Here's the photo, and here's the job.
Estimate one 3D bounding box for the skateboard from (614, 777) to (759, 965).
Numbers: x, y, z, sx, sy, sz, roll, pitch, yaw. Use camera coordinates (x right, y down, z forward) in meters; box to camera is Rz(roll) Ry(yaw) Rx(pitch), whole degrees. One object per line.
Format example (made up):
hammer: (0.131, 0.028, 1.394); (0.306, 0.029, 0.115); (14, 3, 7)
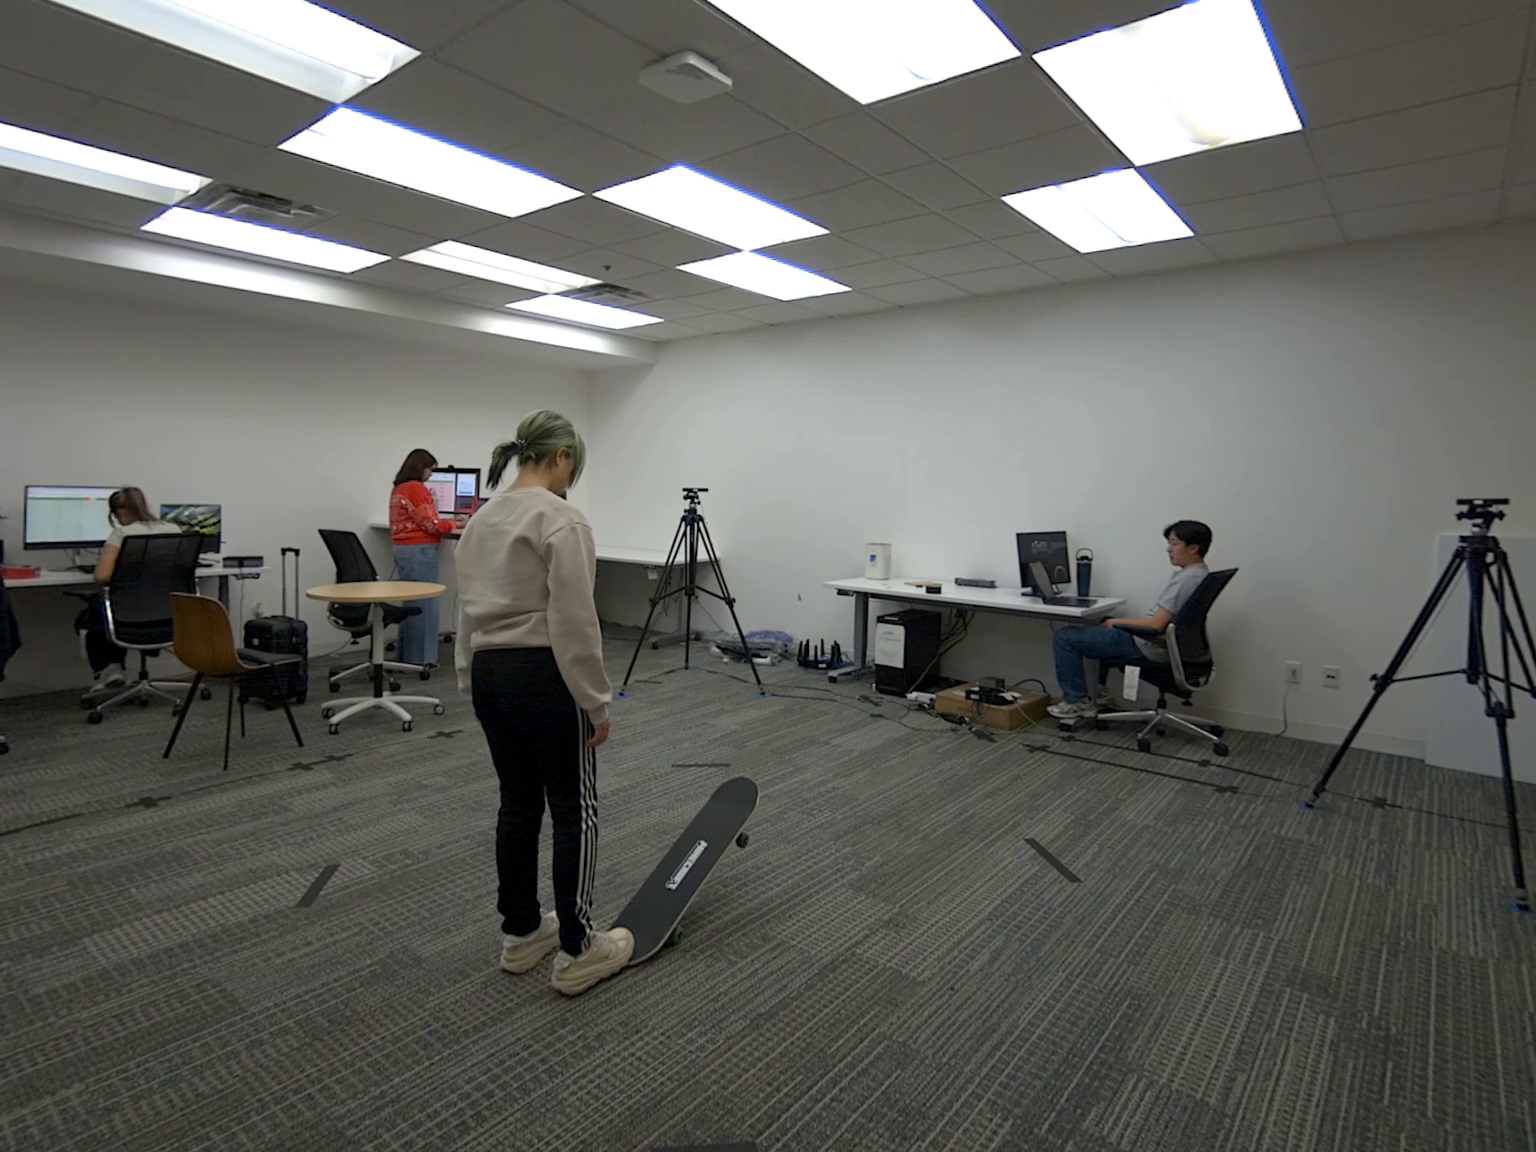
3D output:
skateboard: (-0.260, 0.964, 2.768); (0.199, 0.107, 0.784); (3, 33, 33)
